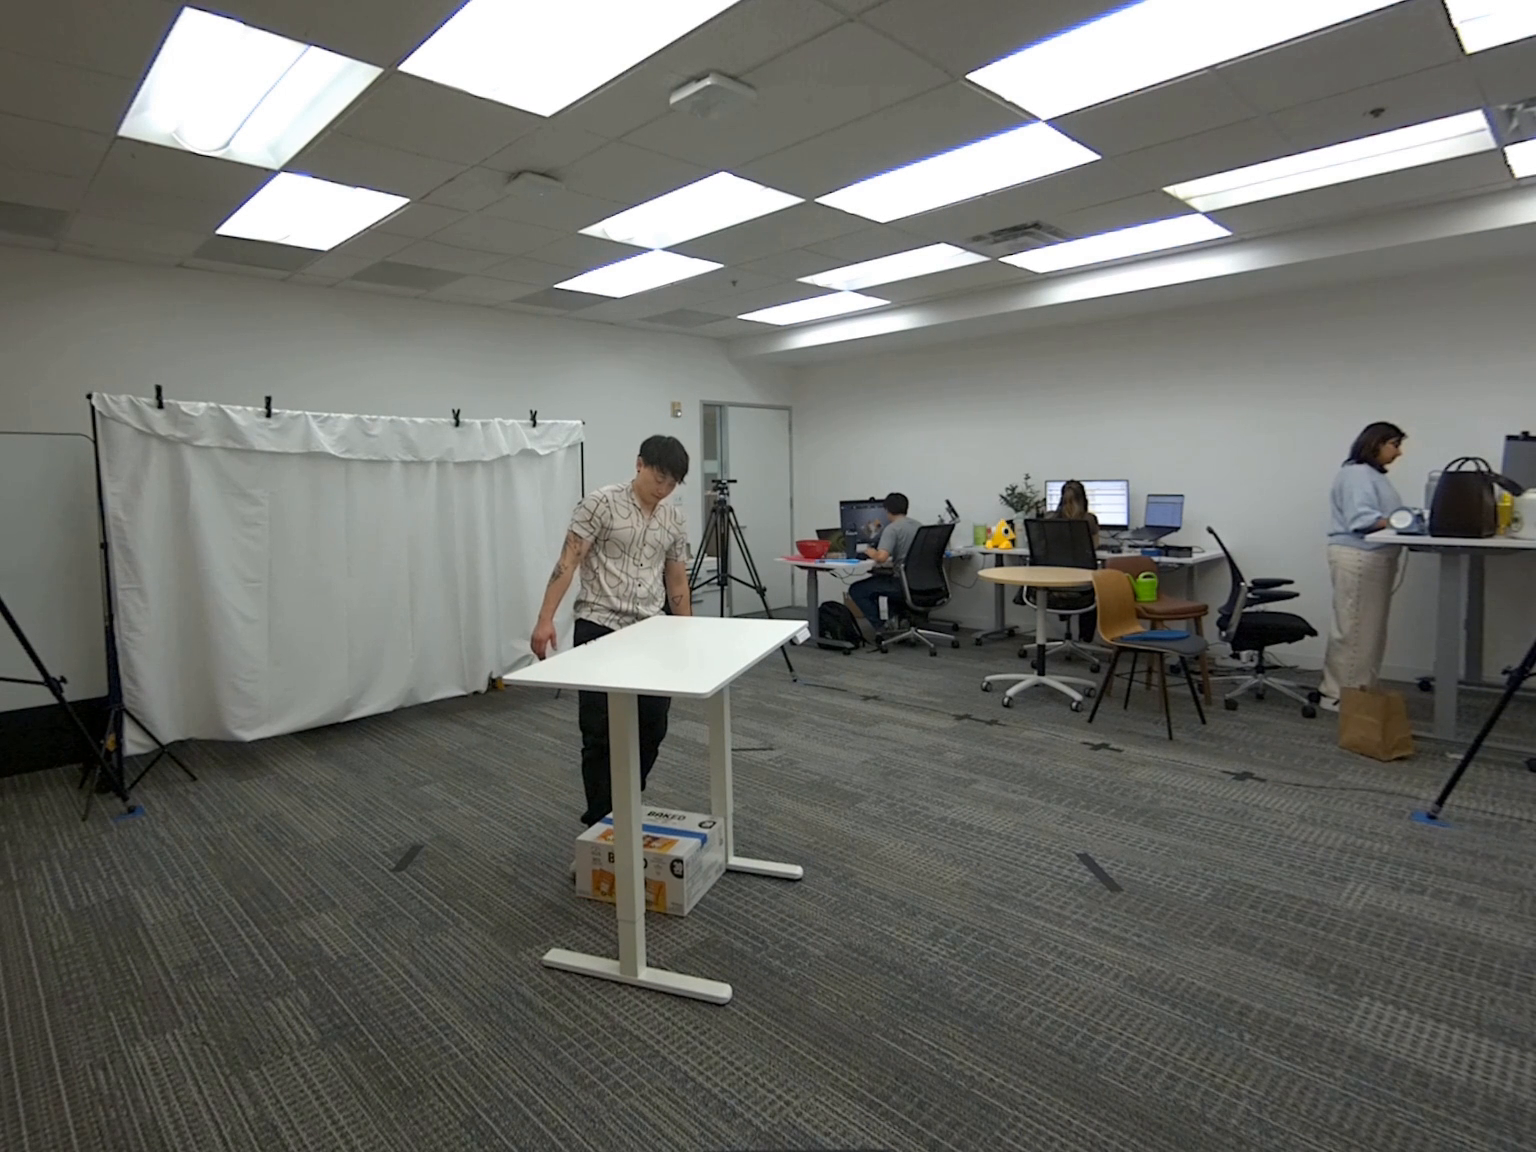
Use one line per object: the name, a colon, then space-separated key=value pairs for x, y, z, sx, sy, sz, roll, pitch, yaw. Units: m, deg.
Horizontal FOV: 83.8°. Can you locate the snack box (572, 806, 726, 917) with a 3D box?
snack box: x=-0.397 y=0.969 z=2.952 sx=0.413 sy=0.205 sz=0.335 roll=1 pitch=7 yaw=21
